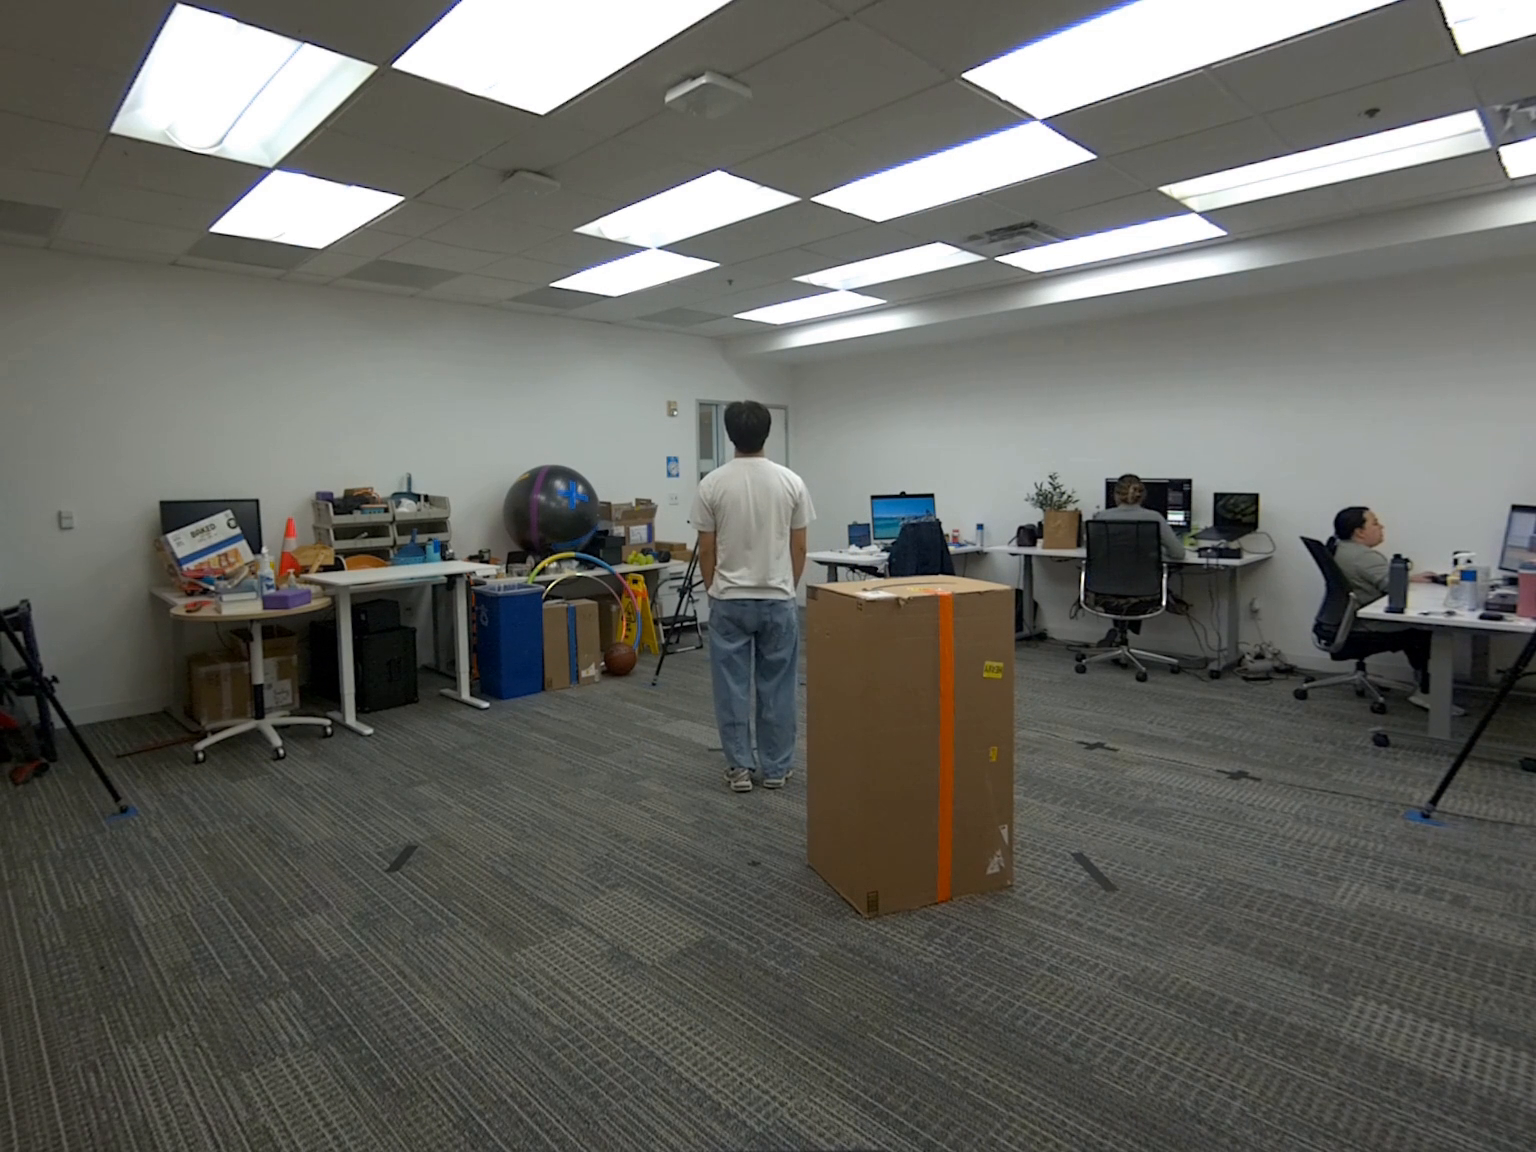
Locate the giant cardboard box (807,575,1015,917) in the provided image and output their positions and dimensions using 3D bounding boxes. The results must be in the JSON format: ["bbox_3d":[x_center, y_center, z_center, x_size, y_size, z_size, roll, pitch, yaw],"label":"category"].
[{"bbox_3d":[0.487,0.544,2.961,0.566,1.022,0.436,-2,4,-23],"label":"giant cardboard box"}]
